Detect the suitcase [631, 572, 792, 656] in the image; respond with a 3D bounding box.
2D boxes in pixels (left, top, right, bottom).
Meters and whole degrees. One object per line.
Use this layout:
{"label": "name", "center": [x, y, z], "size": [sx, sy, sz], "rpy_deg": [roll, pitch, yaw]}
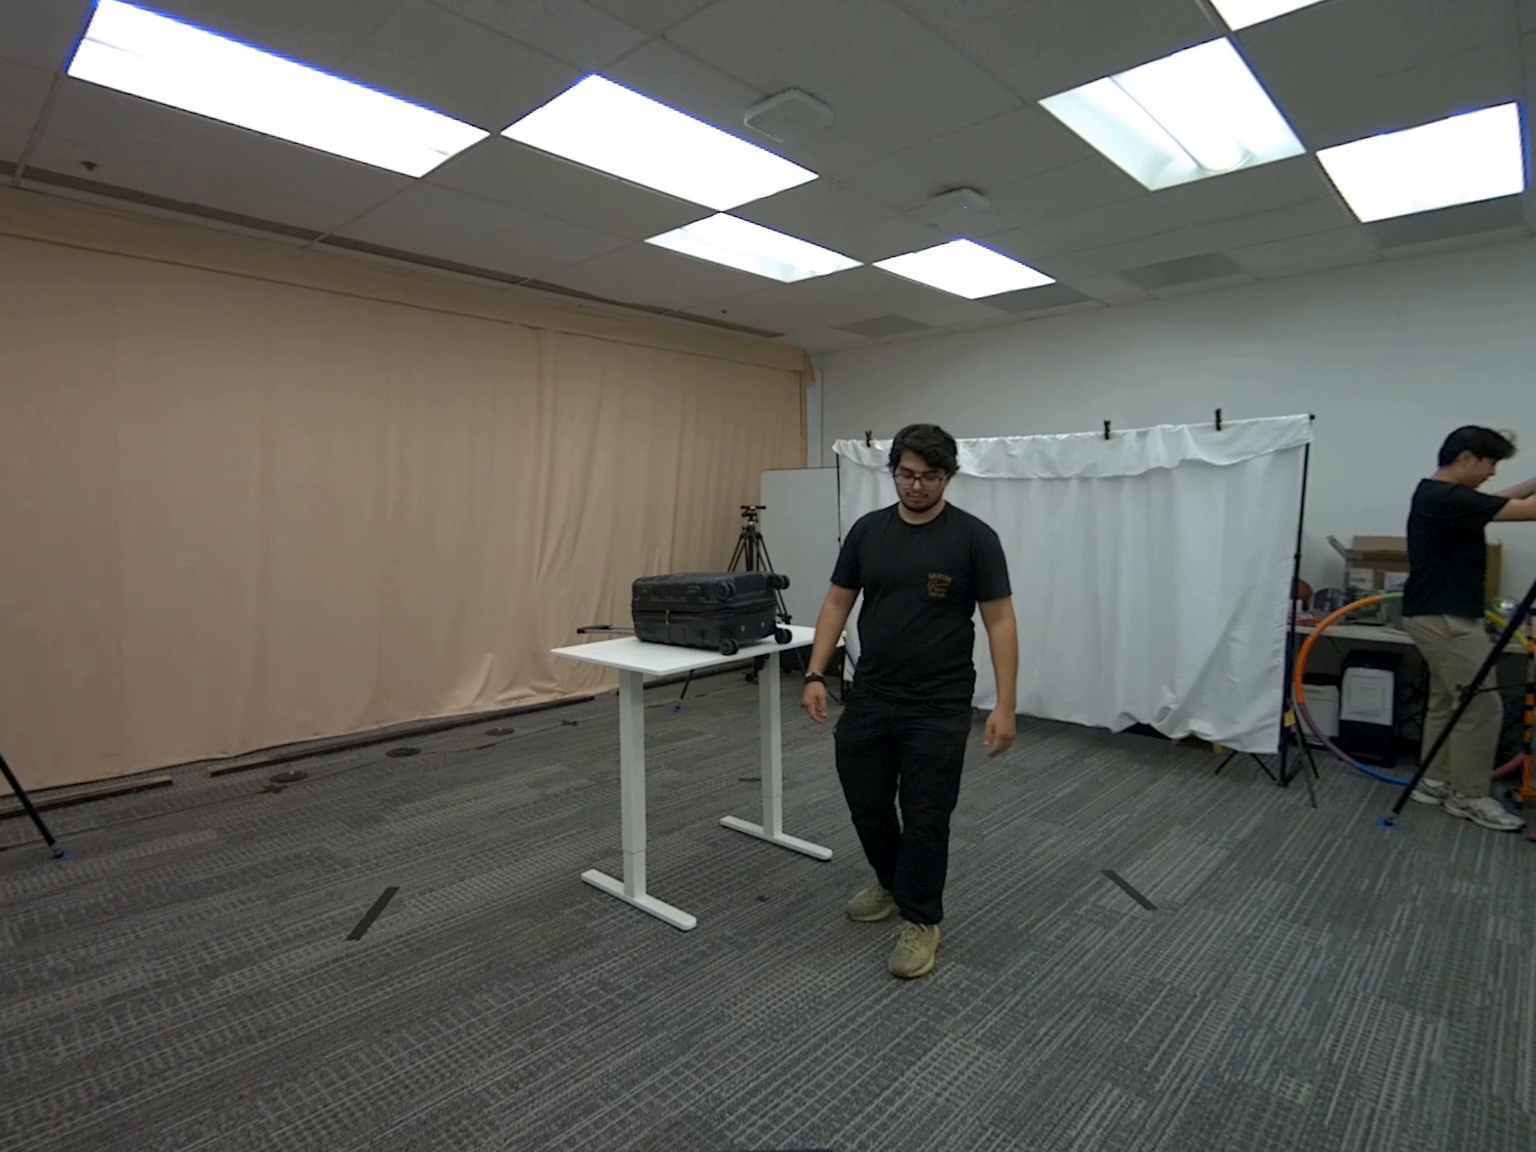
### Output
{"label": "suitcase", "center": [-0.383, 0.119, 3.294], "size": [1.011, 0.256, 0.373], "rpy_deg": [2, 7, 43]}
